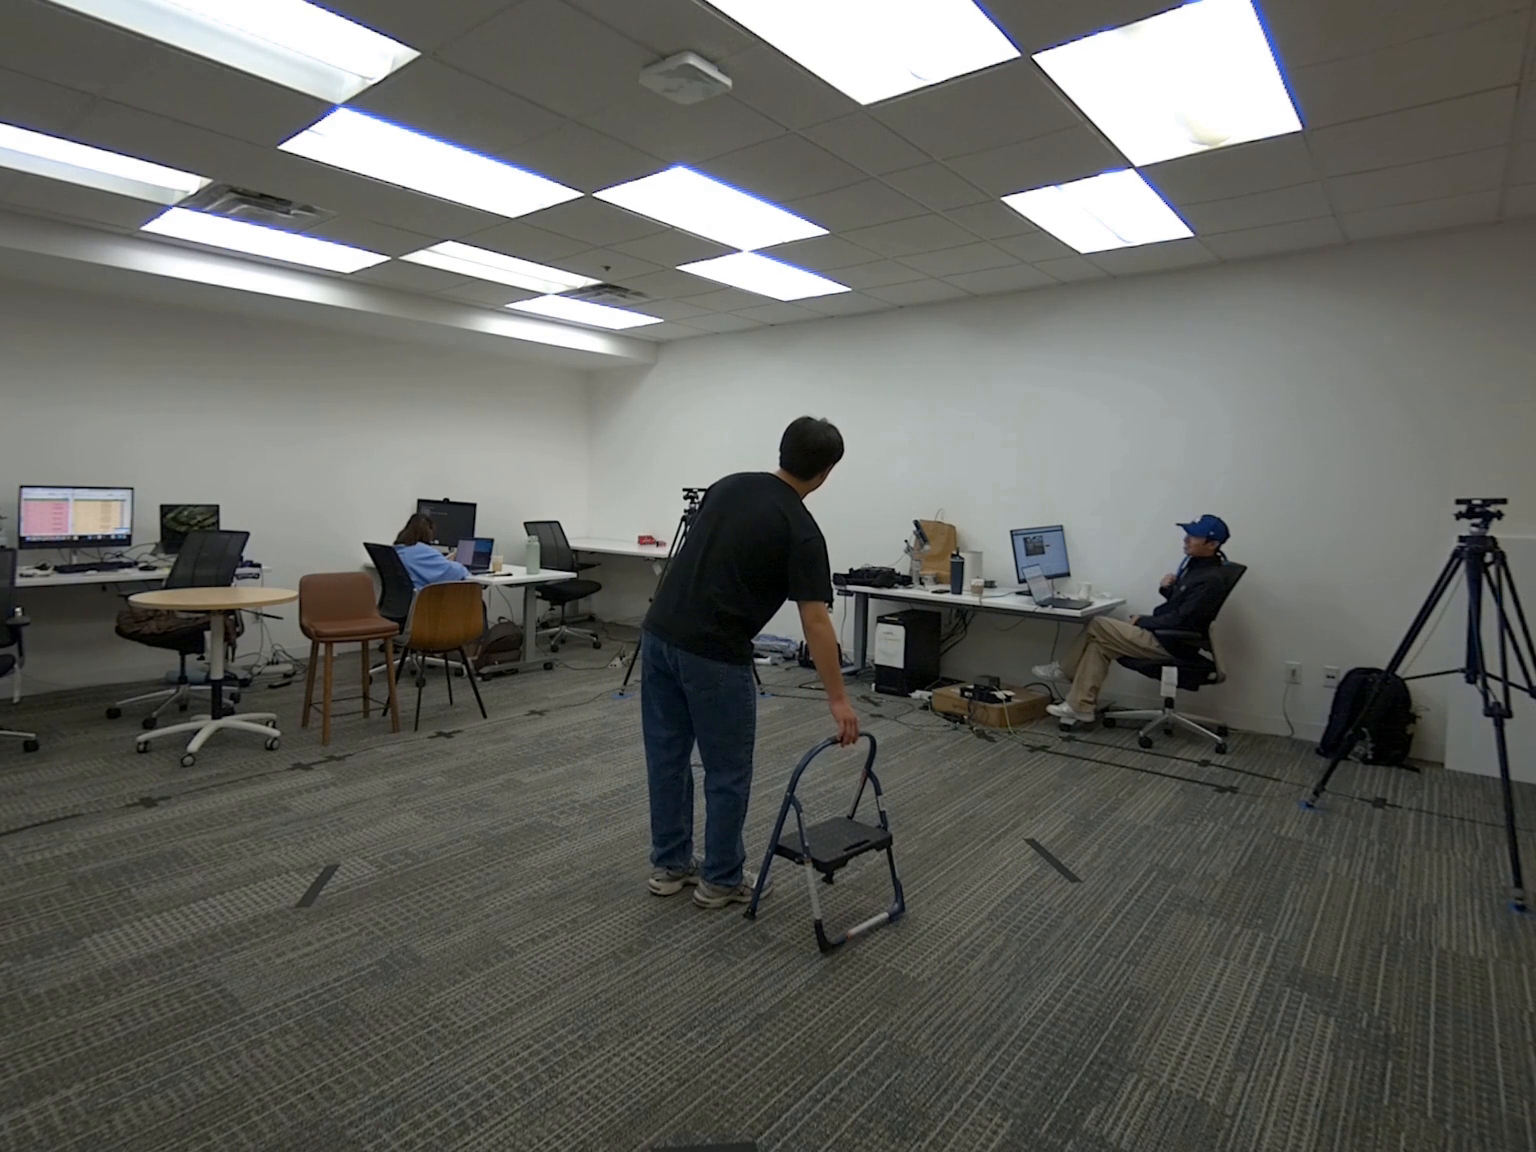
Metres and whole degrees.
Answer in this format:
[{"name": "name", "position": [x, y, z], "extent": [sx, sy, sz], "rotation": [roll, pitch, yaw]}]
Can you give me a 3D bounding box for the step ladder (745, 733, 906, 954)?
[{"name": "step ladder", "position": [0.185, 0.804, 2.778], "extent": [0.417, 0.605, 0.361], "rotation": [-2, 3, -45]}]
